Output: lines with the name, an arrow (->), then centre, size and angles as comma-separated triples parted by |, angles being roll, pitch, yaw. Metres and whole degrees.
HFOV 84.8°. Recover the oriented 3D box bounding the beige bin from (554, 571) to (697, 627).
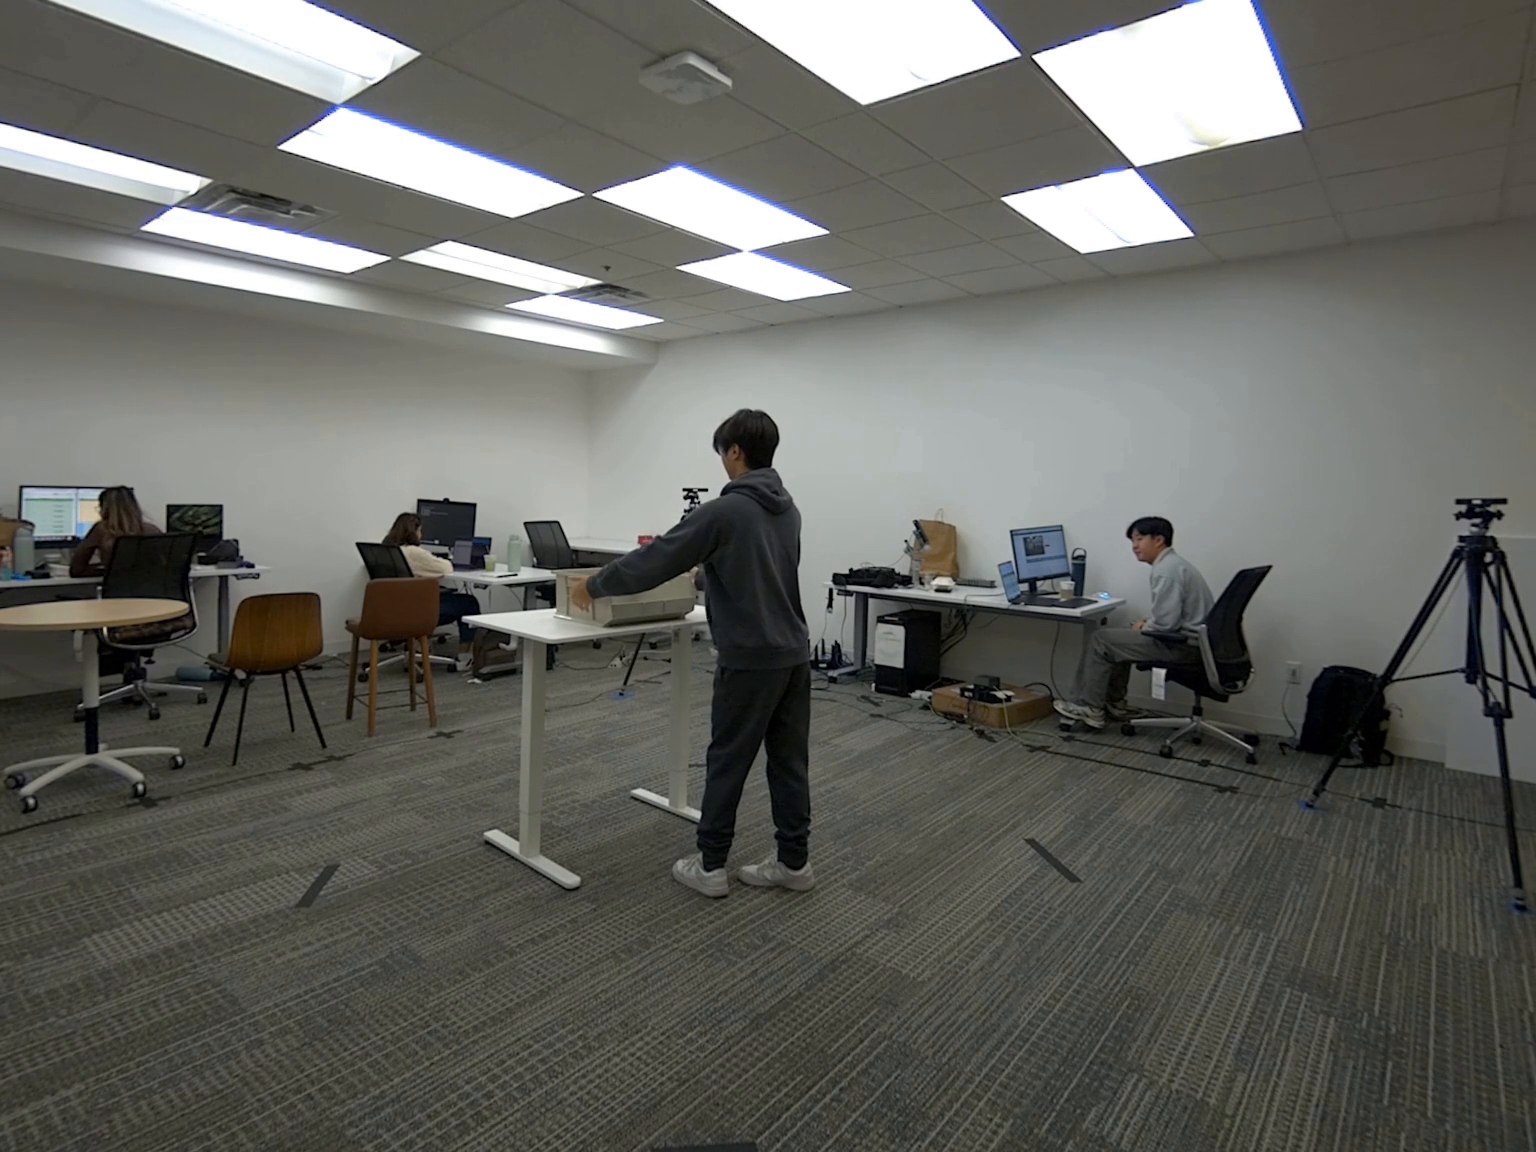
beige bin -> -0.575, 0.078, 3.305 | 0.390, 0.188, 0.410 | 5, 7, 44
